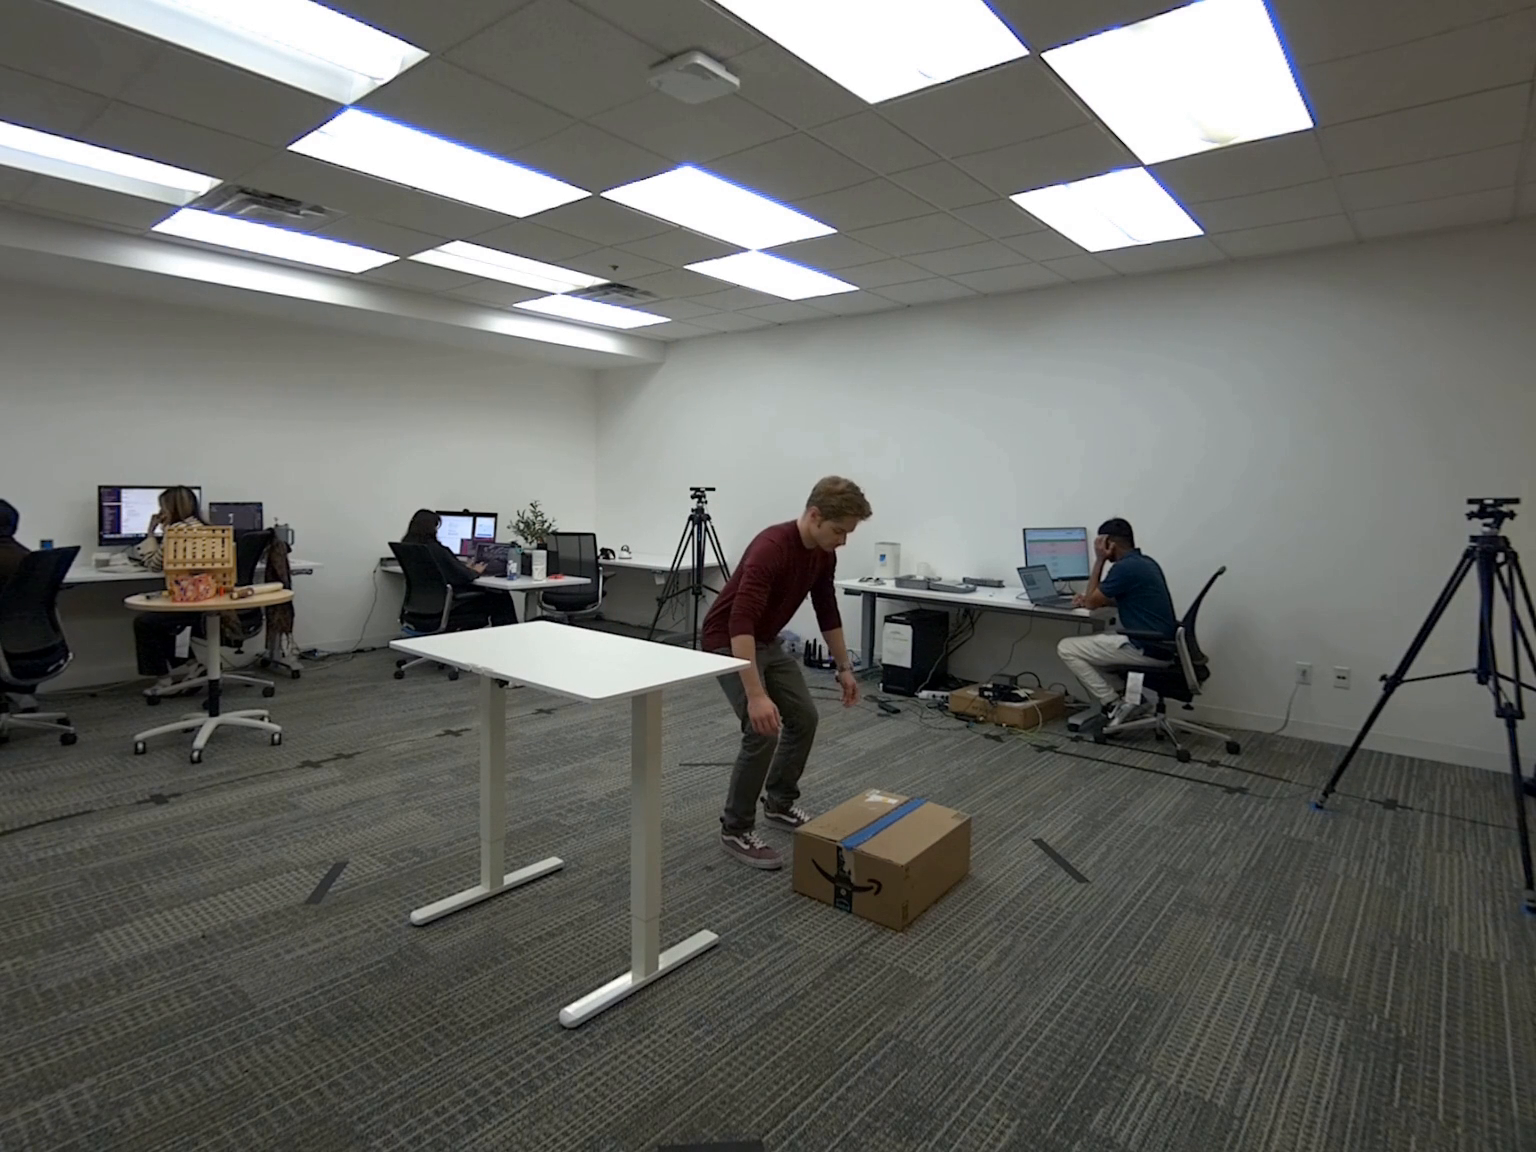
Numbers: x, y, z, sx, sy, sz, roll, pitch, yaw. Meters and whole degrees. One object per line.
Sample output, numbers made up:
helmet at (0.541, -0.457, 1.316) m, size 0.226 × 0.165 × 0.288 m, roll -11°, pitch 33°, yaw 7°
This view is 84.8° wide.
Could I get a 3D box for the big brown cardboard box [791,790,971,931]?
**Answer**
big brown cardboard box at (0.414, 0.981, 3.030) m, size 0.431 × 0.232 × 0.572 m, roll 5°, pitch 7°, yaw 36°
